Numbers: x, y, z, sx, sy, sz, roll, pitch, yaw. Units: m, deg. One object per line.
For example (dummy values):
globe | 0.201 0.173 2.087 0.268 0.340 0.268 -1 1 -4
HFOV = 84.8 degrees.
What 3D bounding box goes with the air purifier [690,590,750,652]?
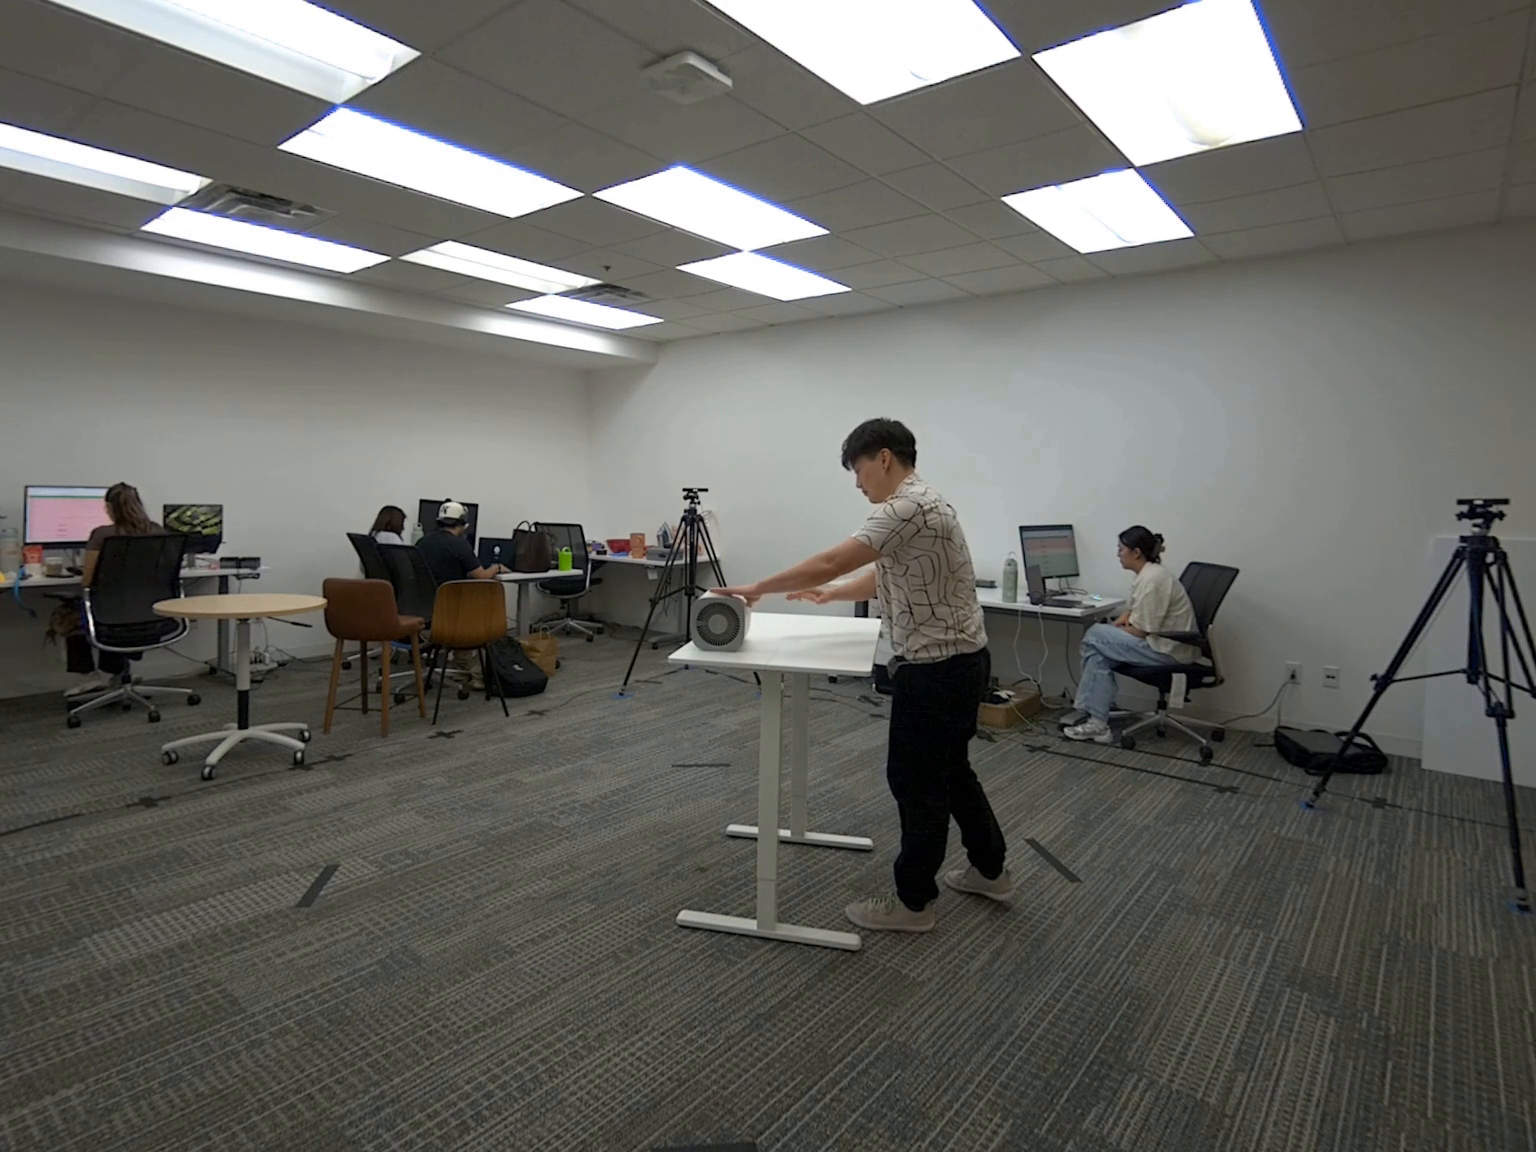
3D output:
air purifier | -0.156 0.138 2.788 0.173 0.171 0.264 1 3 5
